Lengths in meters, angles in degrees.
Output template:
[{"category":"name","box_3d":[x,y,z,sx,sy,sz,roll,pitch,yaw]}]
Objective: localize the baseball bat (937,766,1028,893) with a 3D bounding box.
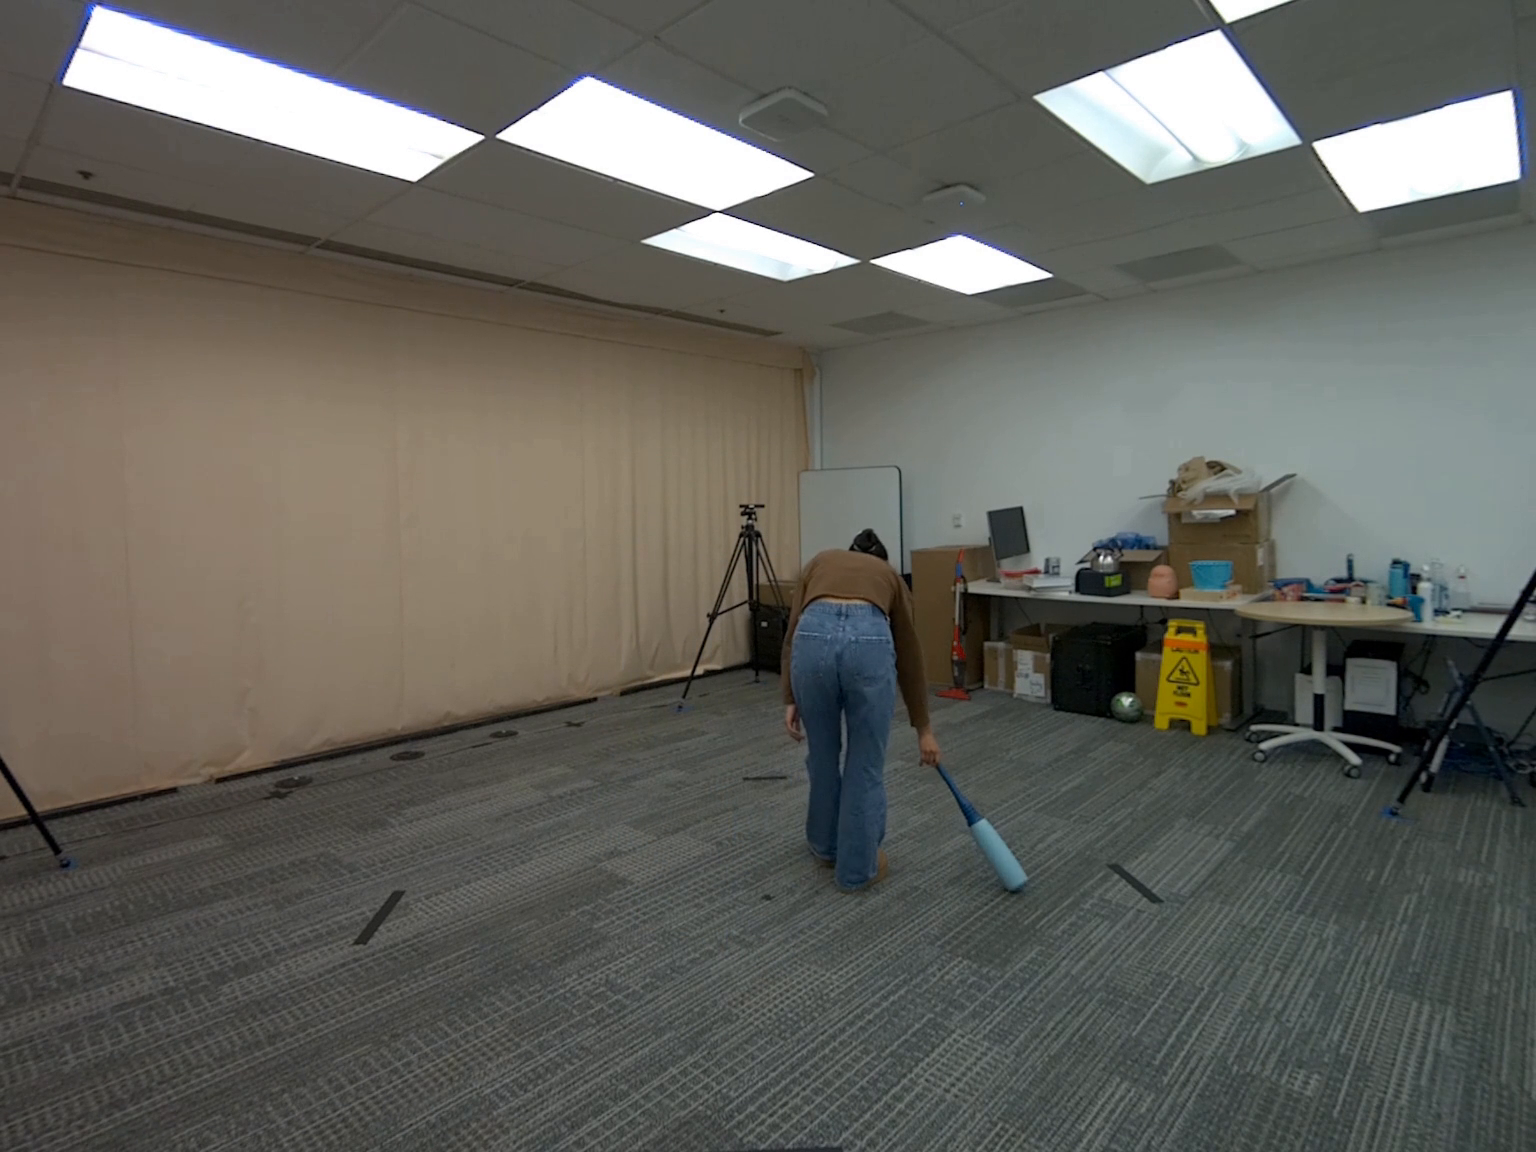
[{"category":"baseball bat","box_3d":[0.754,0.895,3.095,0.088,0.557,0.087,-26,-26,-15]}]
